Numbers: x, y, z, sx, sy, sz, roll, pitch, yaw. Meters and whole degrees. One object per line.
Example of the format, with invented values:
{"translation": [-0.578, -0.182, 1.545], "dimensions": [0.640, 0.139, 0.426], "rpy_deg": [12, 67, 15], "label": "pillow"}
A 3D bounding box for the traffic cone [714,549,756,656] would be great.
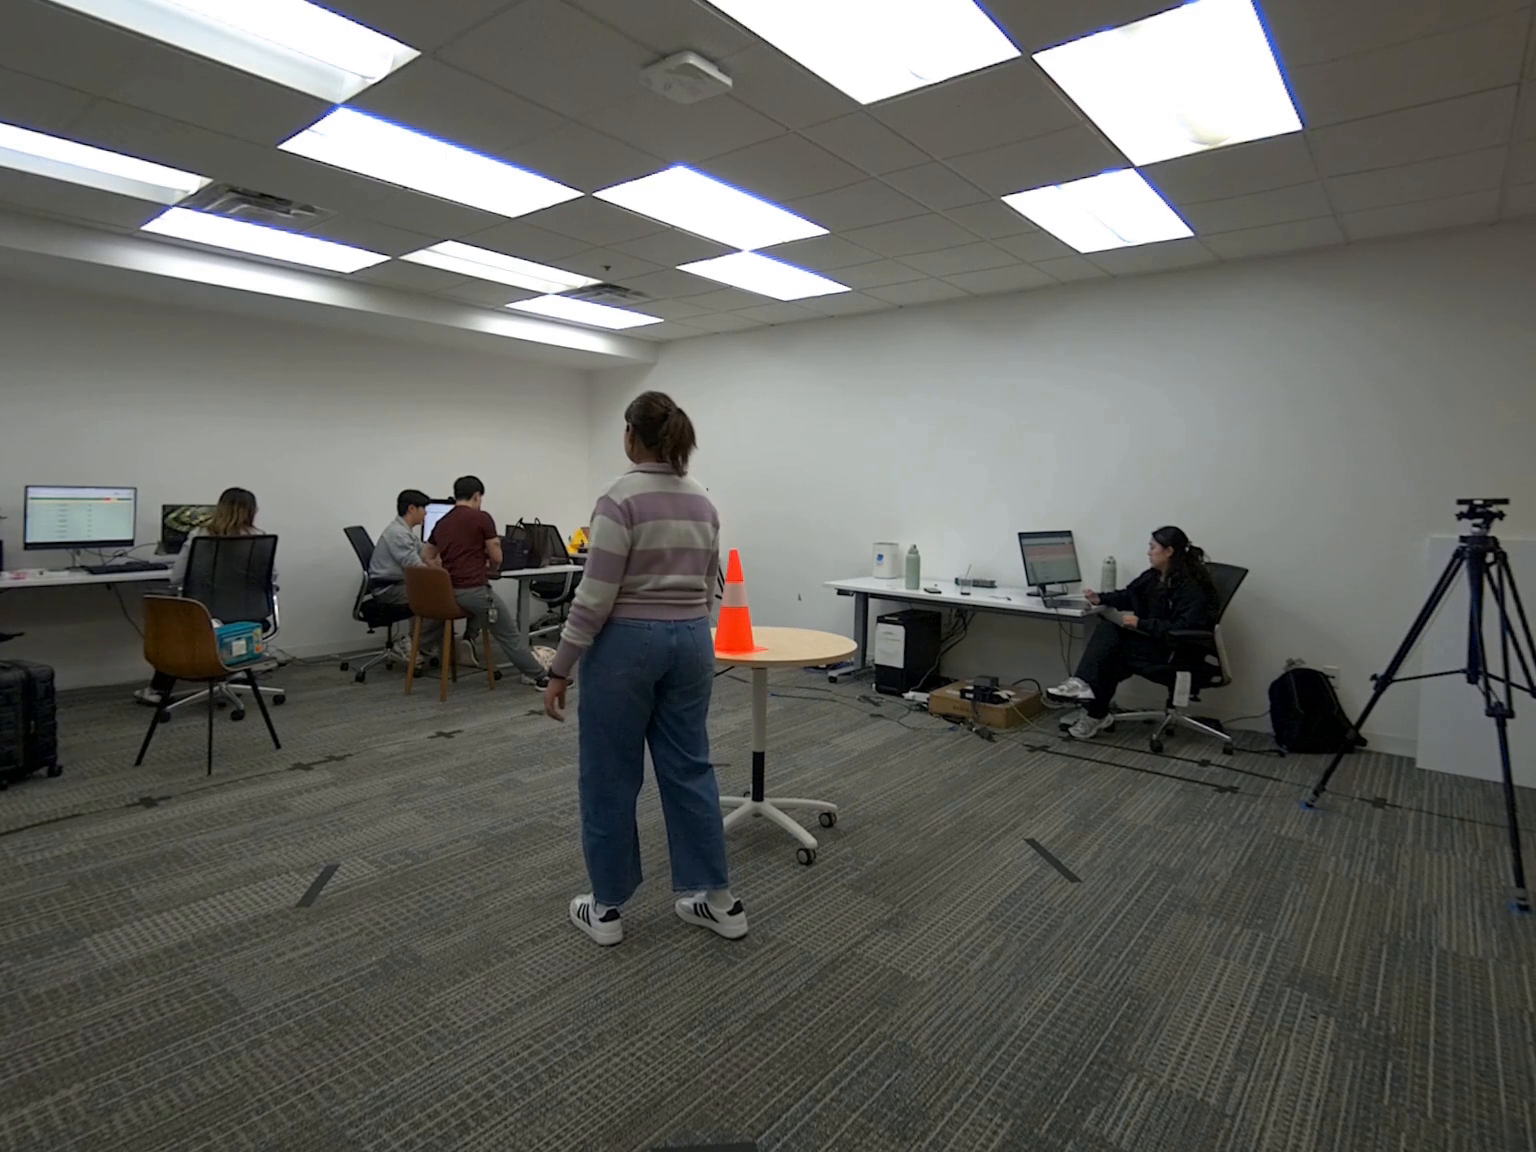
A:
{"translation": [-0.141, 0.087, 3.231], "dimensions": [0.210, 0.383, 0.199], "rpy_deg": [1, 4, 36], "label": "traffic cone"}
